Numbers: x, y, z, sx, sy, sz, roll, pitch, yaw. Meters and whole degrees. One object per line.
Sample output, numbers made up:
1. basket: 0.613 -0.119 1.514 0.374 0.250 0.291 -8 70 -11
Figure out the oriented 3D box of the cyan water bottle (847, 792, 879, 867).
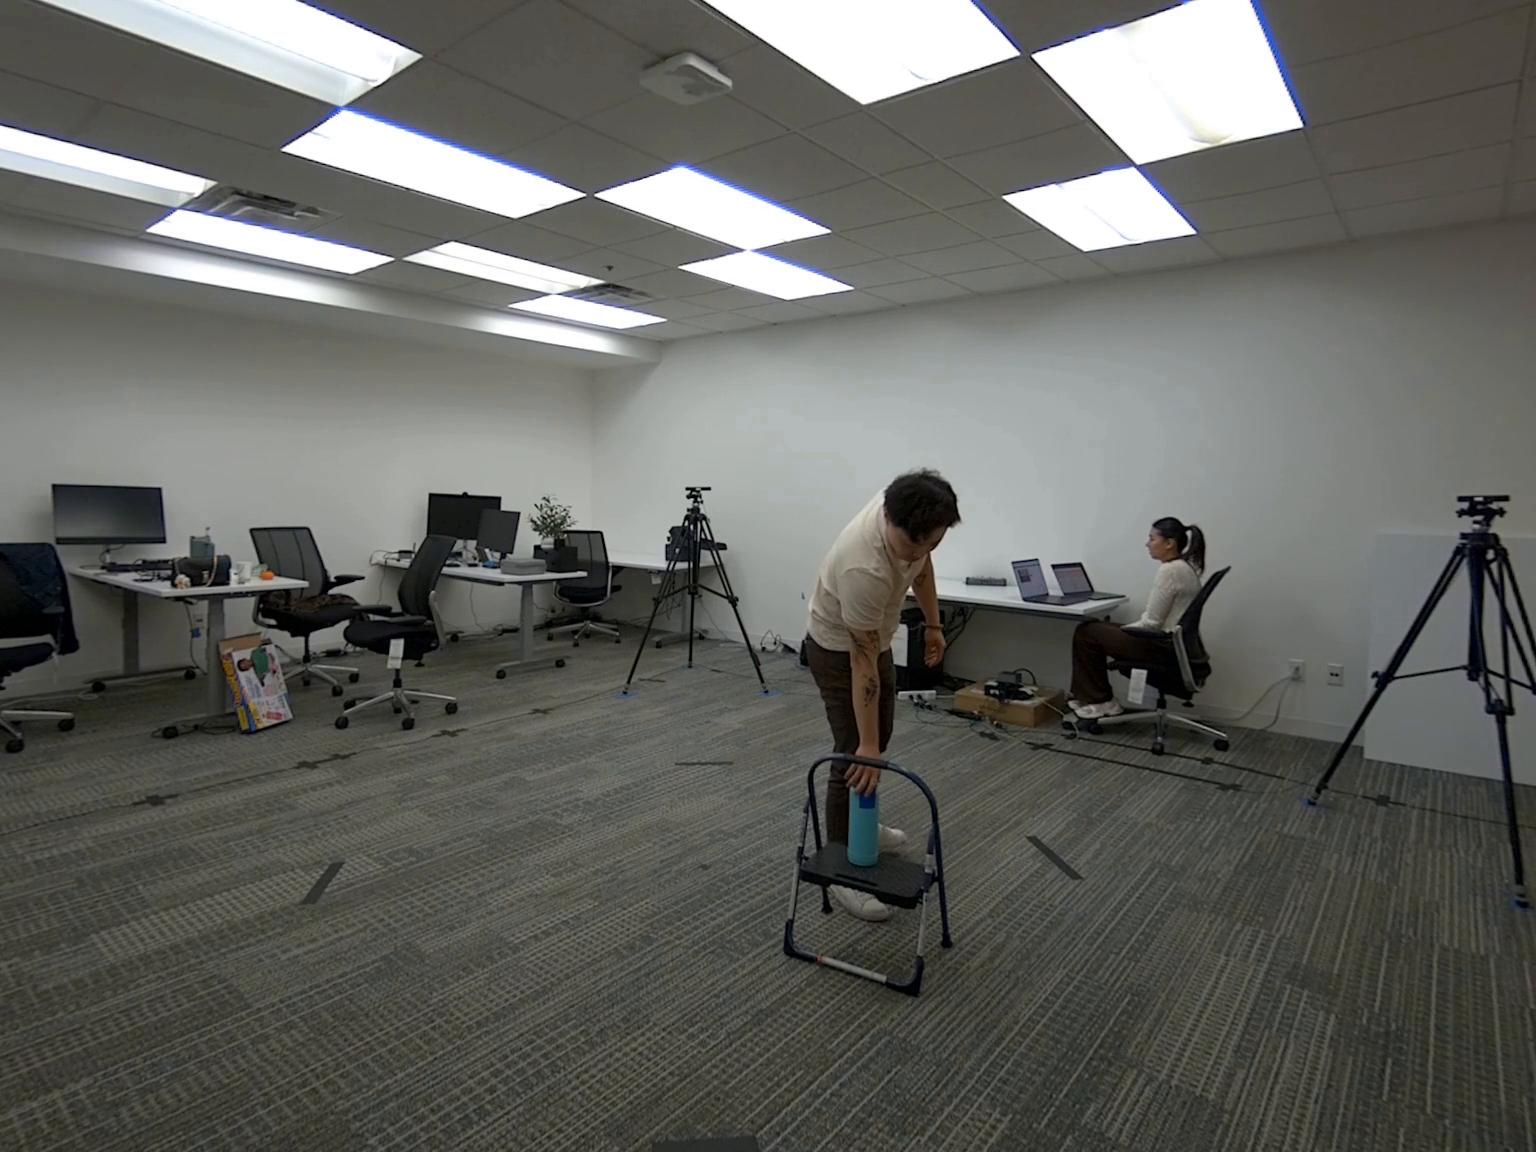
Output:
1. cyan water bottle: 0.278 0.719 2.593 0.092 0.282 0.093 0 3 -2
